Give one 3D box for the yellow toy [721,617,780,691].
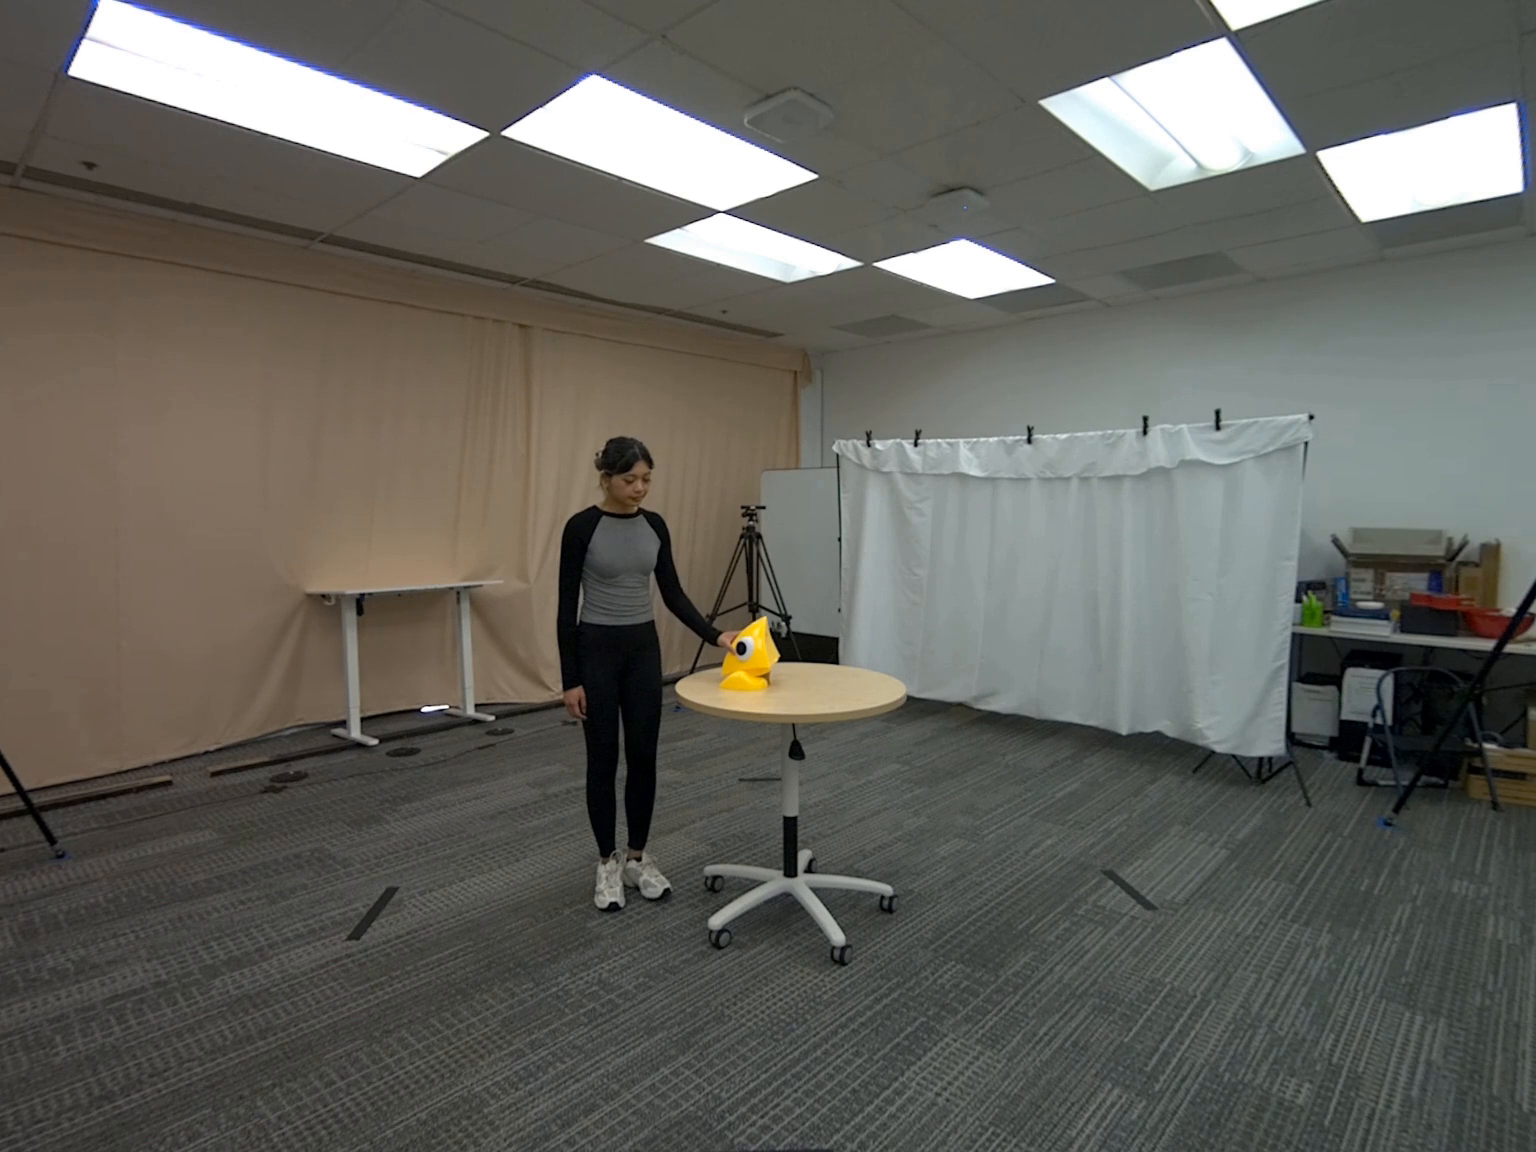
[{"bbox_3d":[-0.063,0.253,2.839,0.196,0.230,0.202,-1,4,12],"label":"yellow toy"}]
